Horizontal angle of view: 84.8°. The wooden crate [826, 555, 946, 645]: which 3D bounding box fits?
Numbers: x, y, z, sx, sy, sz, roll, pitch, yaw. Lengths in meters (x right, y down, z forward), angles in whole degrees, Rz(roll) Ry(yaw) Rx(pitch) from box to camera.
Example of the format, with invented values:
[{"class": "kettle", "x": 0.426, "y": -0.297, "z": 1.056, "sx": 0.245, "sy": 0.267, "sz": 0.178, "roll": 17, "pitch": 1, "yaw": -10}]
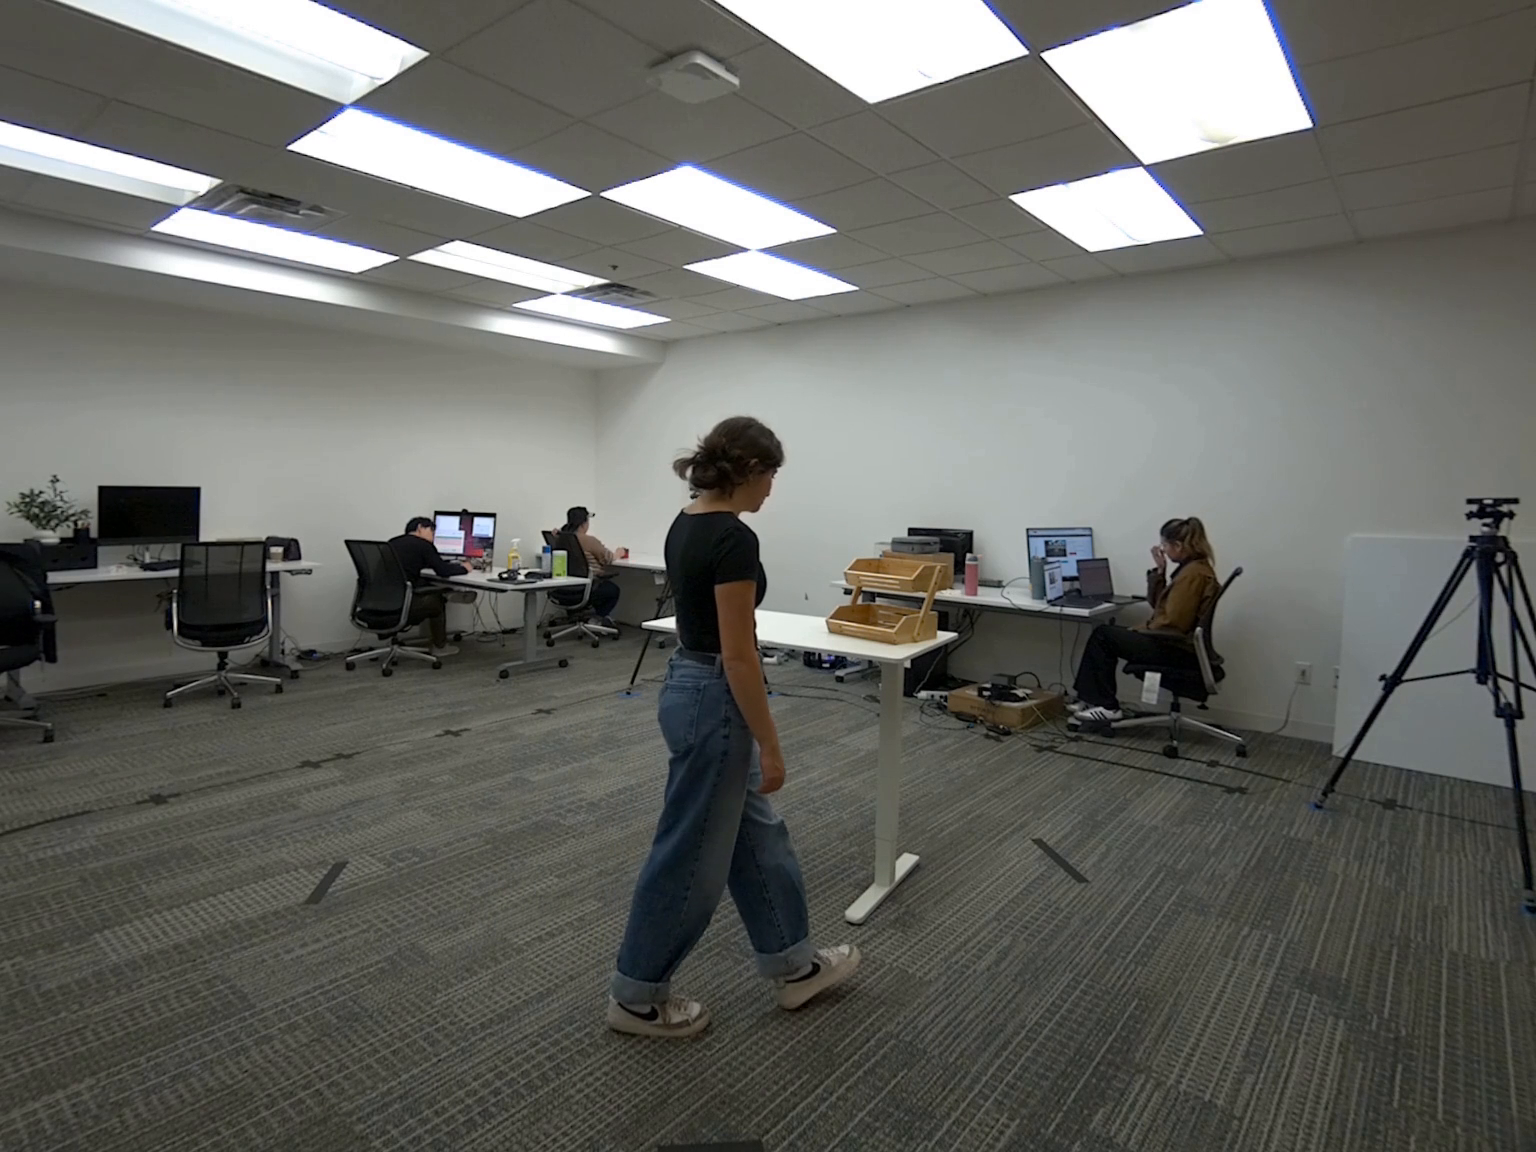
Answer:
[{"class": "wooden crate", "x": 0.411, "y": 0.075, "z": 3.027, "sx": 0.293, "sy": 0.272, "sz": 0.336, "roll": -2, "pitch": 6, "yaw": -44}]
